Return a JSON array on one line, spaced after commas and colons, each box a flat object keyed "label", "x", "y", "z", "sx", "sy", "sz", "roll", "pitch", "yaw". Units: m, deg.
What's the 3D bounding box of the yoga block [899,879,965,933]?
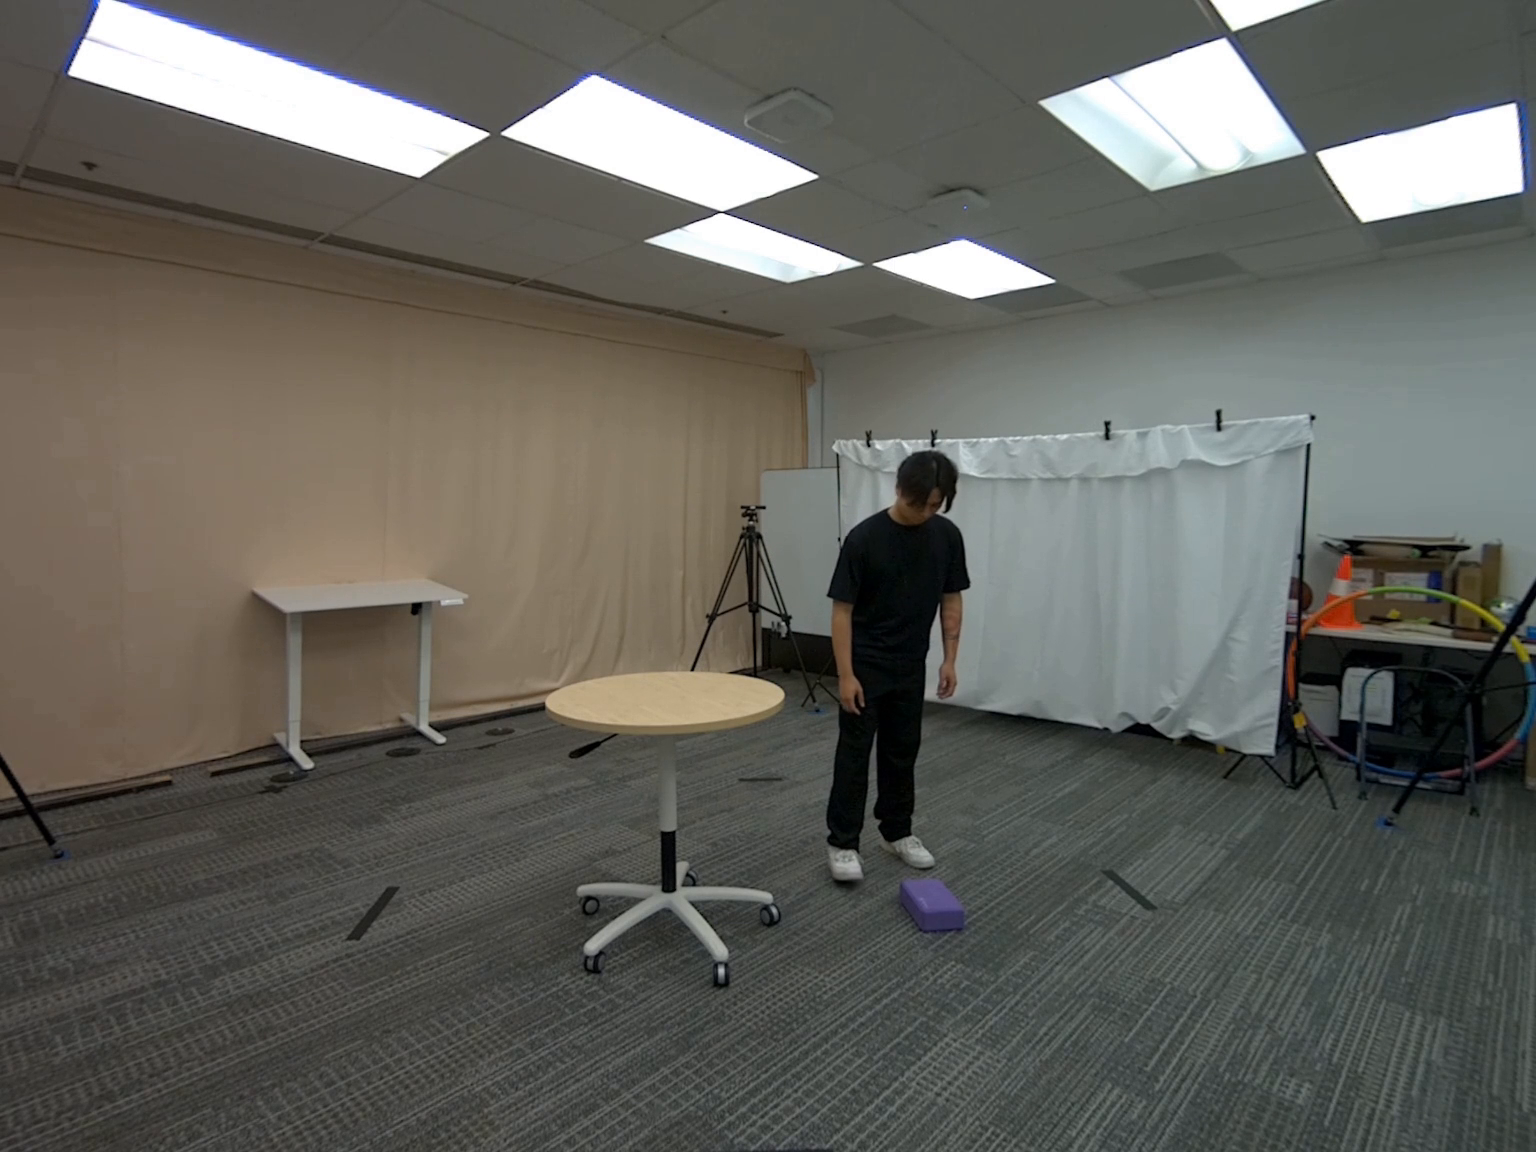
[{"label": "yoga block", "x": 0.558, "y": 1.110, "z": 2.857, "sx": 0.148, "sy": 0.076, "sz": 0.232, "roll": -2, "pitch": 4, "yaw": -9}]
